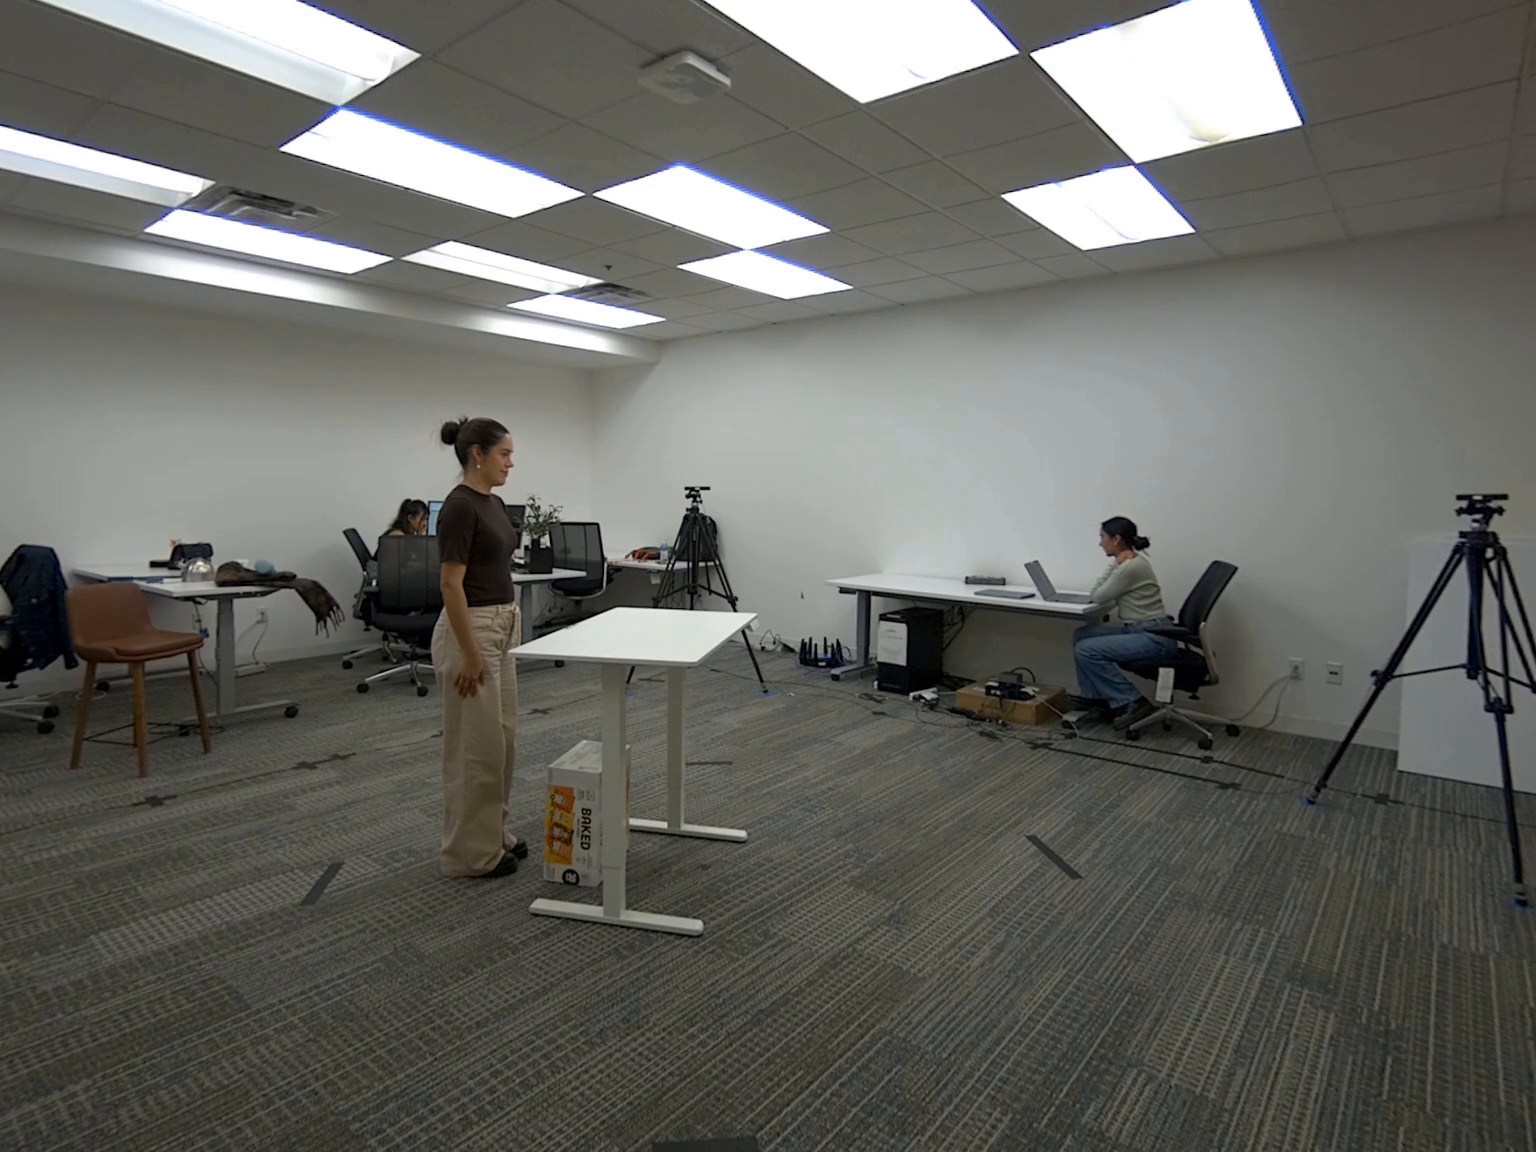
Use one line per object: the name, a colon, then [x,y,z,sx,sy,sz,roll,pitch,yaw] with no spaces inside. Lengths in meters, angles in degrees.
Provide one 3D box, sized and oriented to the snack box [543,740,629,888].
snack box: [-0.668,0.858,3.107,0.208,0.404,0.337,3,4,10]
